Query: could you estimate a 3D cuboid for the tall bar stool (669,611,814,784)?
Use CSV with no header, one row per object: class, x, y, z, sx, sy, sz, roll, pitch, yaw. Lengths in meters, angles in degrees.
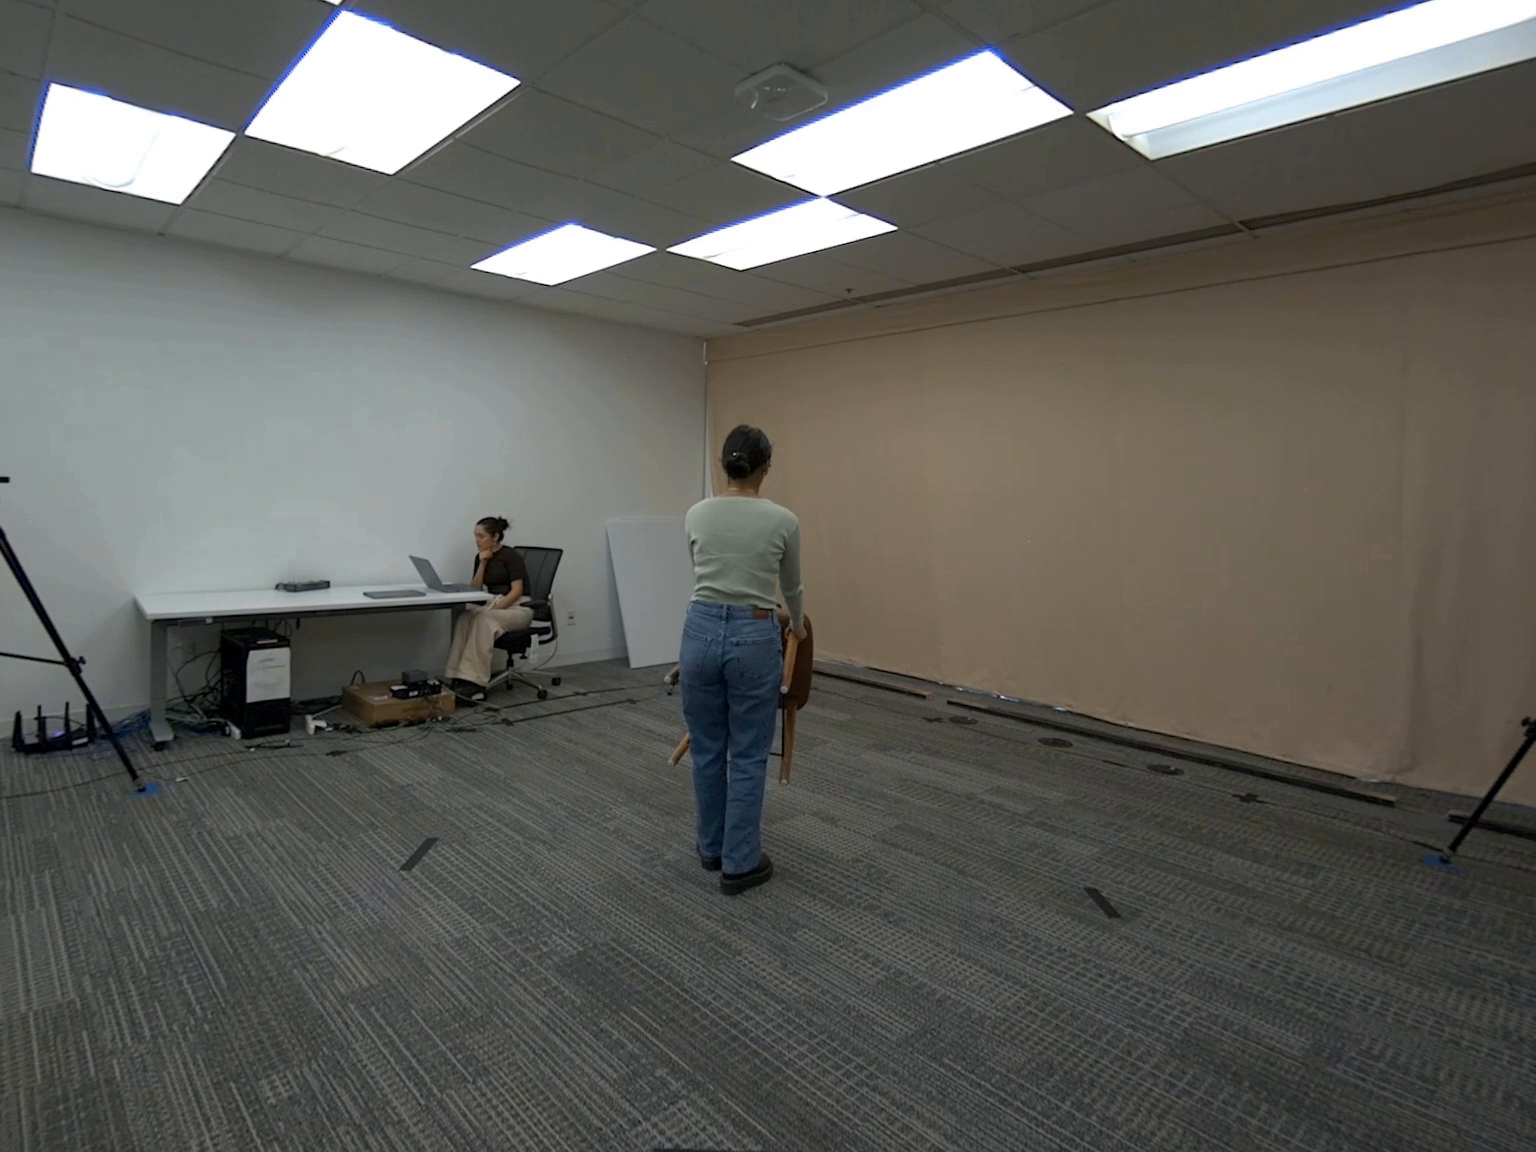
tall bar stool,-0.074,0.390,3.403,0.472,0.450,0.894,4,22,11
